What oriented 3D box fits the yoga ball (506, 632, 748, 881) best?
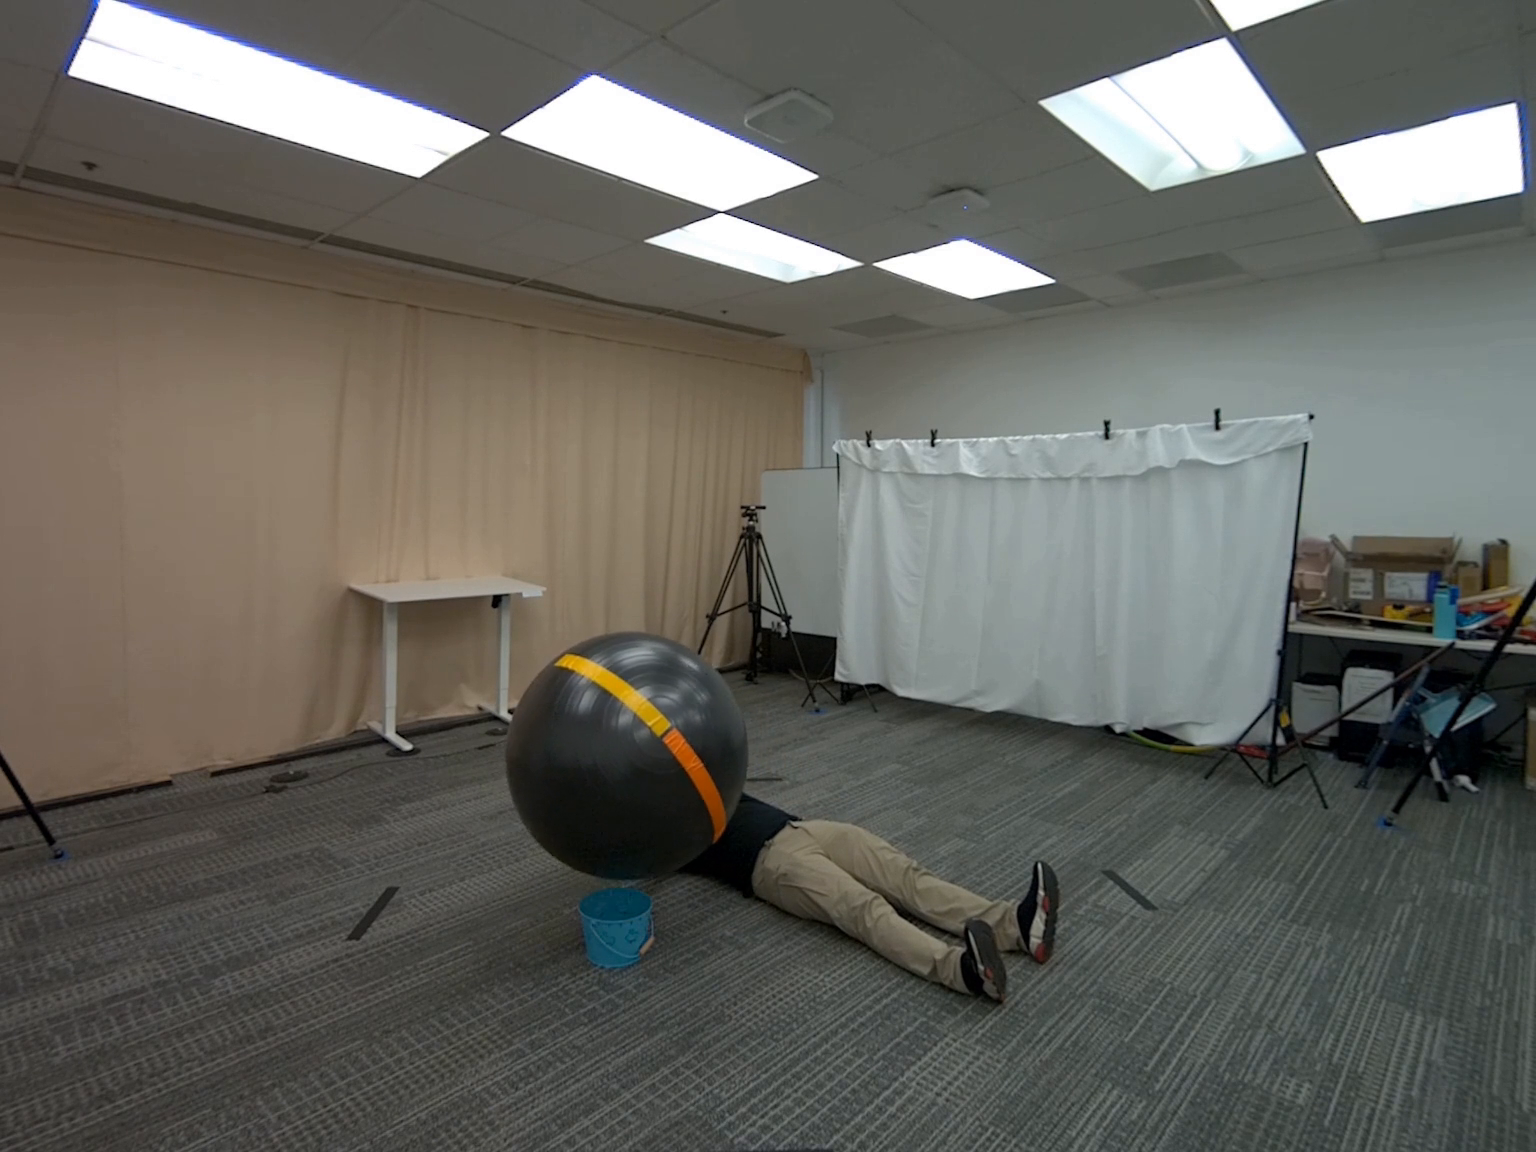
[{"bbox_3d":[-0.434,0.555,2.669,0.757,0.756,0.761,0,4,-2],"label":"yoga ball"}]
